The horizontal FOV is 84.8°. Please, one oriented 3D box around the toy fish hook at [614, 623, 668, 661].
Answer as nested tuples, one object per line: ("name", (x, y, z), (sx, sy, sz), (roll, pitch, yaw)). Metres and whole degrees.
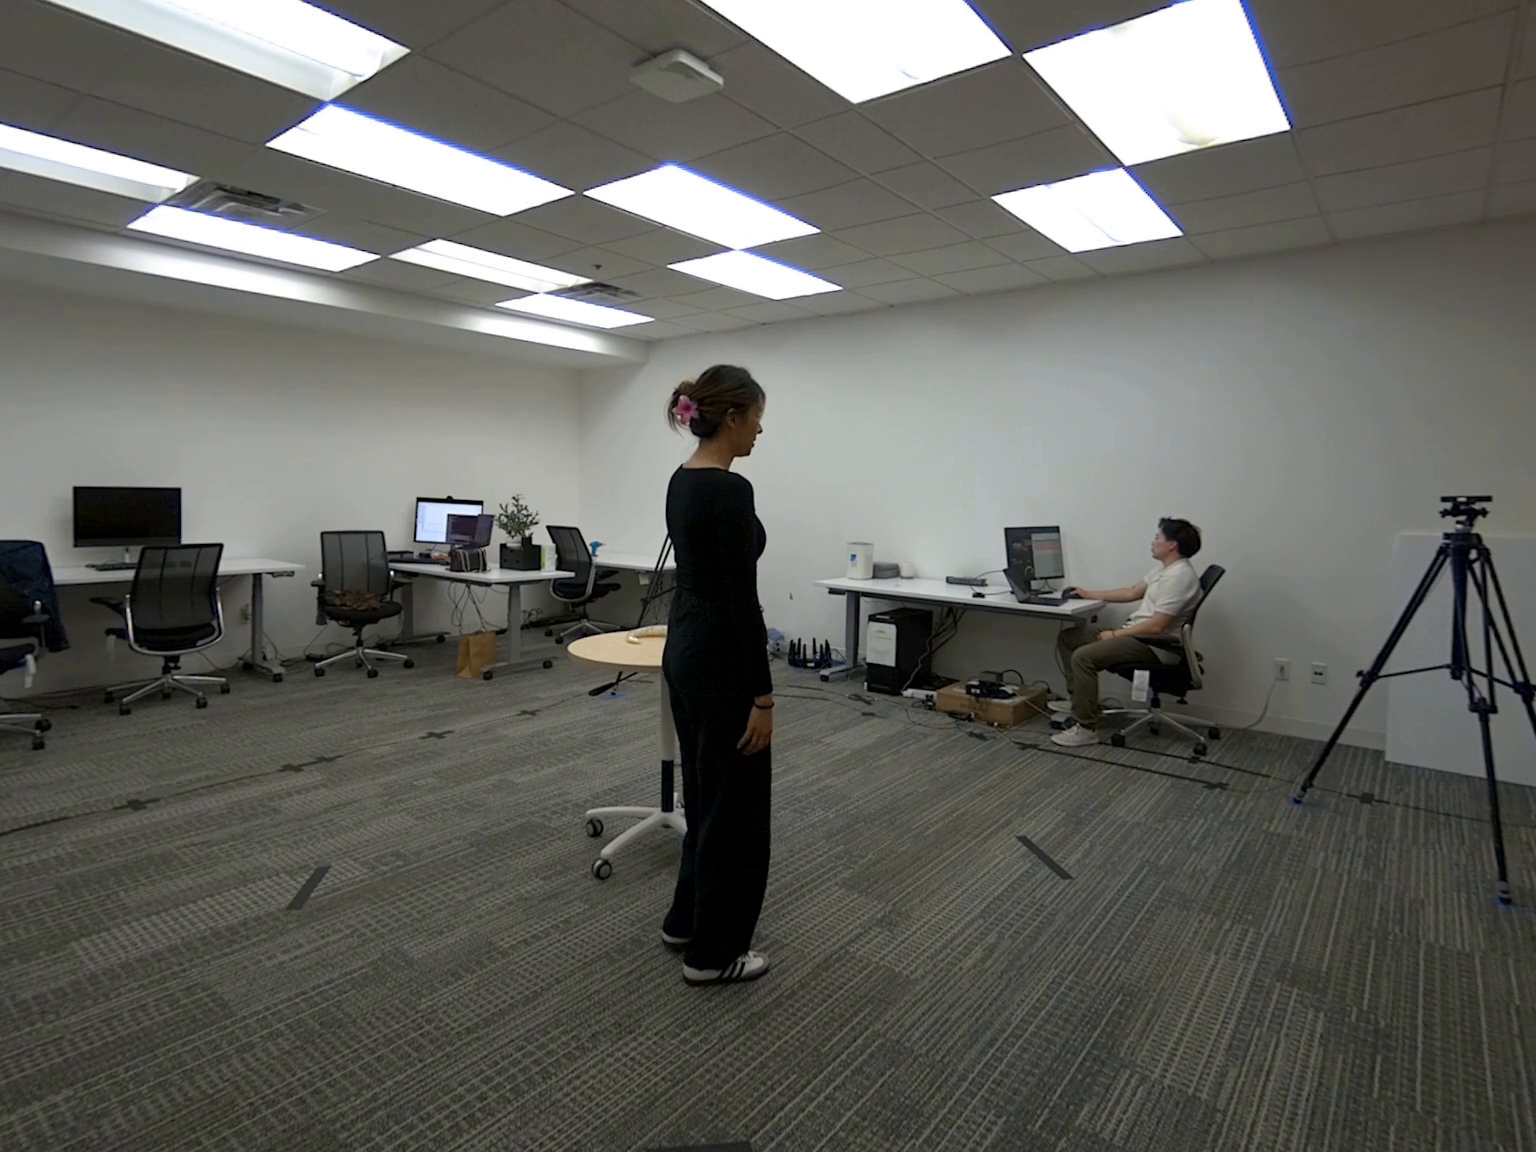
("toy fish hook", (-0.404, 0.250, 3.270), (0.219, 0.048, 0.521), (-7, 7, -29))
